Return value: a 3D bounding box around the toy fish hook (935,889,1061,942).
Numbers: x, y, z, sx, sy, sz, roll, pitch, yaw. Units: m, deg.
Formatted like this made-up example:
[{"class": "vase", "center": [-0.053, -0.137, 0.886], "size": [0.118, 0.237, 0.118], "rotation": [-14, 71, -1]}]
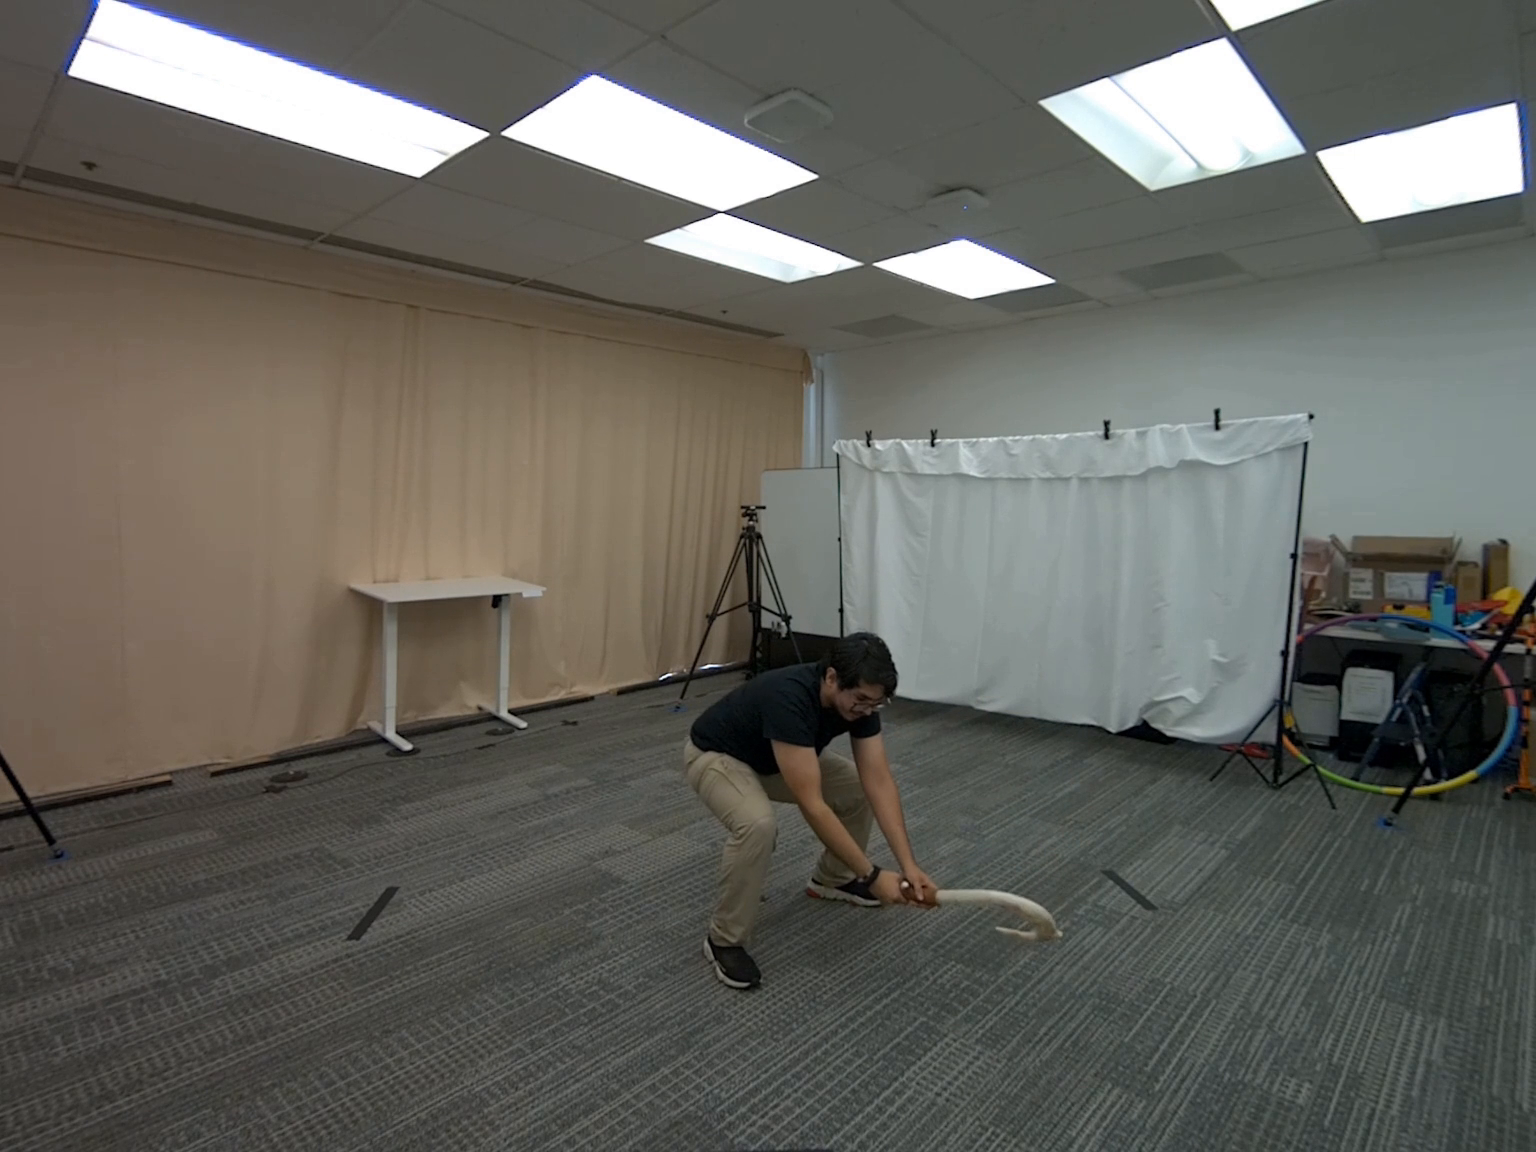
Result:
[{"class": "toy fish hook", "center": [0.545, 0.921, 2.299], "size": [0.521, 0.219, 0.048], "rotation": [-8, 31, 41]}]
